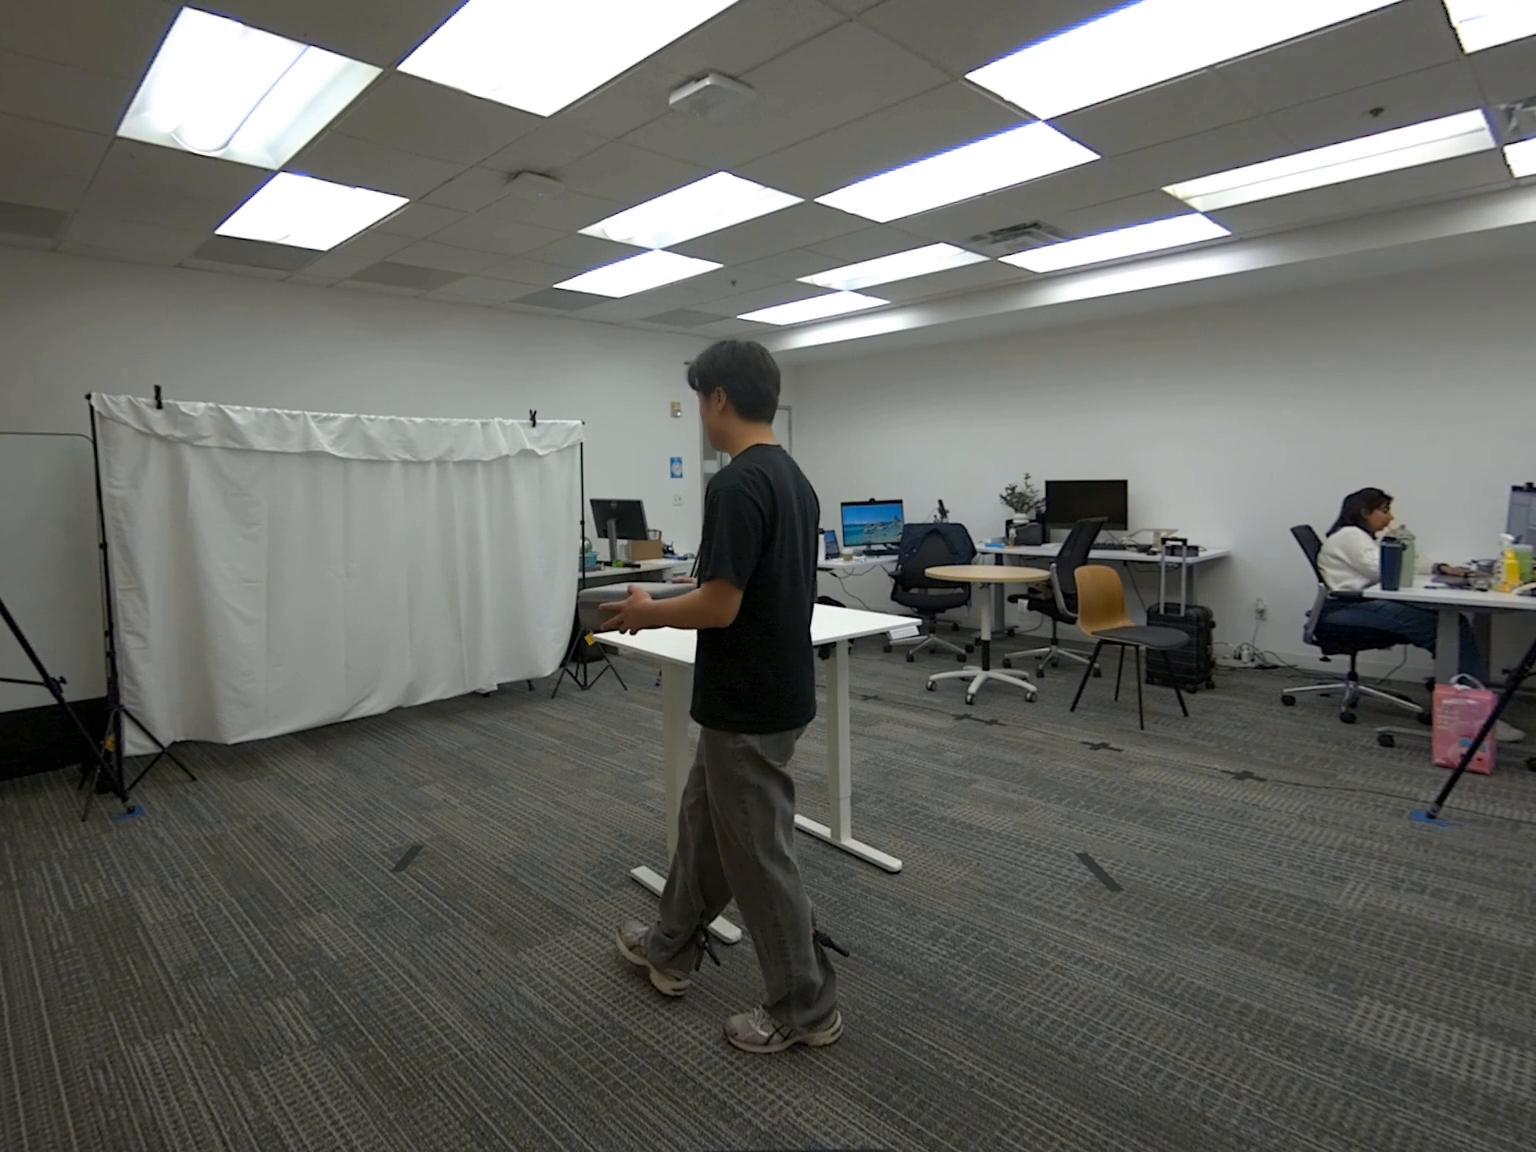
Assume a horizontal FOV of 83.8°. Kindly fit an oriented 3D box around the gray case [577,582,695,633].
[{"bbox_3d":[-0.324,0.077,2.280,0.294,0.103,0.257,-1,3,26],"label":"gray case"}]
